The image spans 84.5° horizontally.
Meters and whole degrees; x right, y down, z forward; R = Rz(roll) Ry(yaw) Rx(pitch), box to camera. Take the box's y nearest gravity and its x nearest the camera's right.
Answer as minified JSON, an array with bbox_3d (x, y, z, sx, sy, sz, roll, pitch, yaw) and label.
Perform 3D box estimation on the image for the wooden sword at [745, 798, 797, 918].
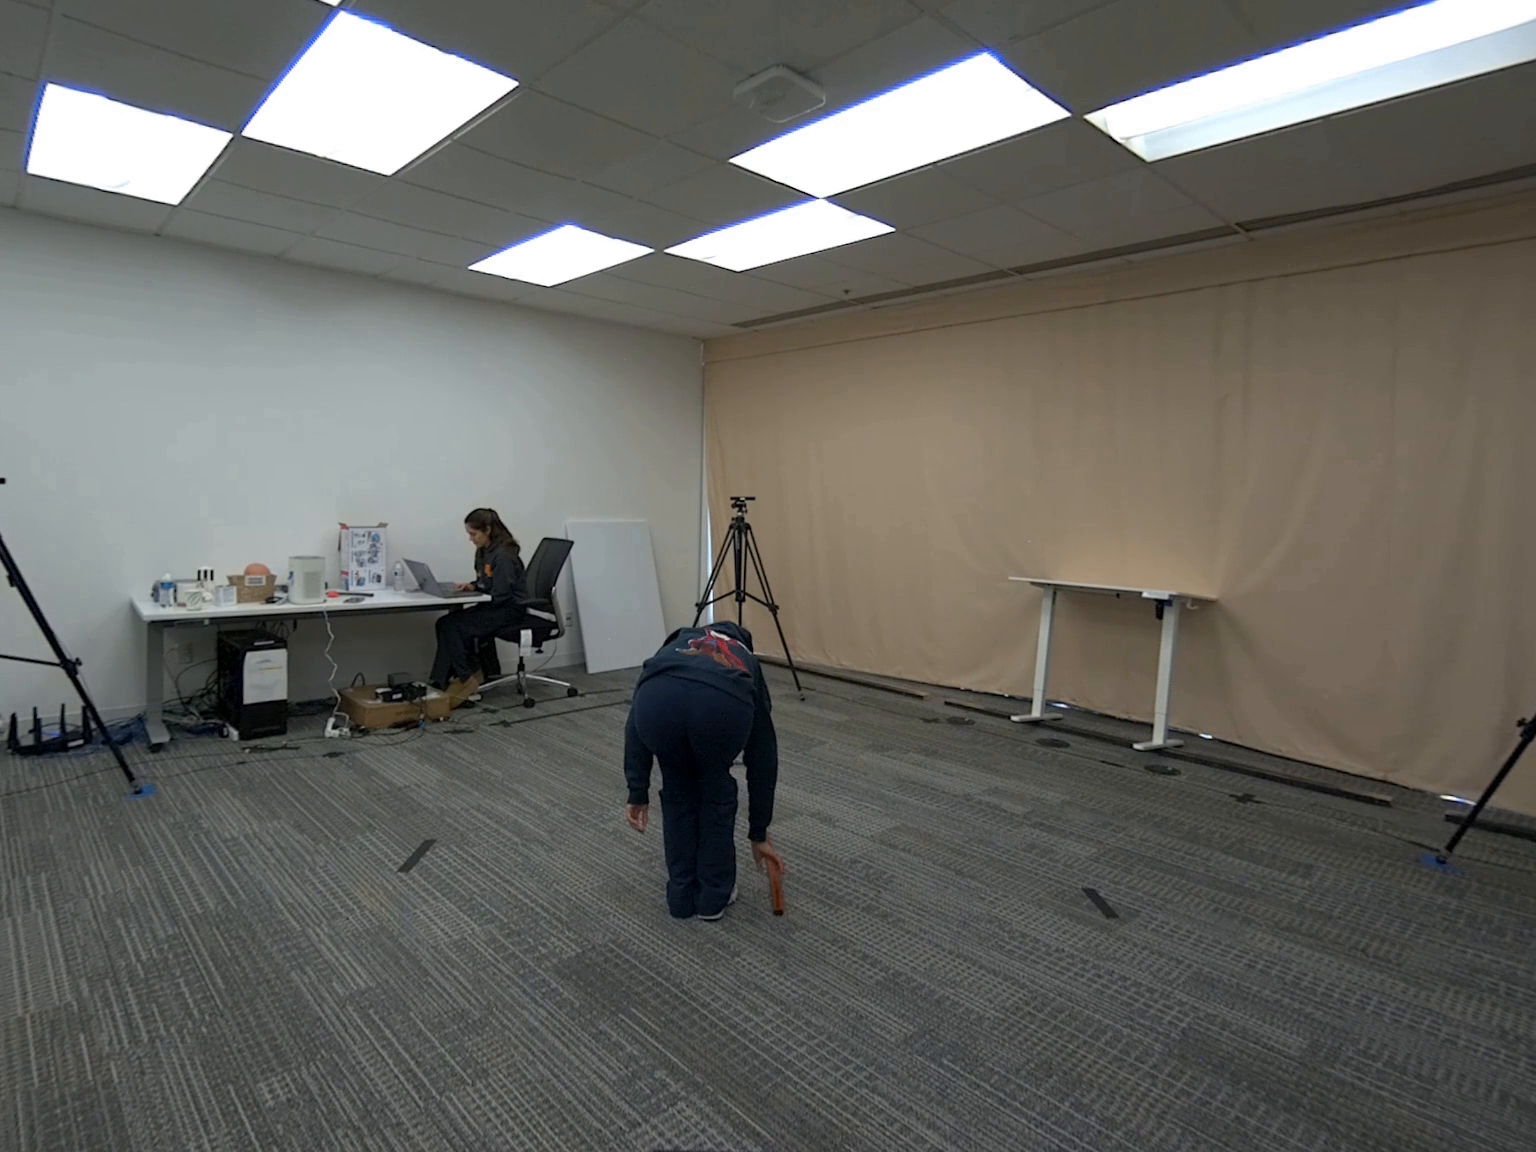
[{"bbox_3d":[-0.006,1.071,3.327,0.051,0.024,1.033,30,0,-9],"label":"wooden sword"}]
